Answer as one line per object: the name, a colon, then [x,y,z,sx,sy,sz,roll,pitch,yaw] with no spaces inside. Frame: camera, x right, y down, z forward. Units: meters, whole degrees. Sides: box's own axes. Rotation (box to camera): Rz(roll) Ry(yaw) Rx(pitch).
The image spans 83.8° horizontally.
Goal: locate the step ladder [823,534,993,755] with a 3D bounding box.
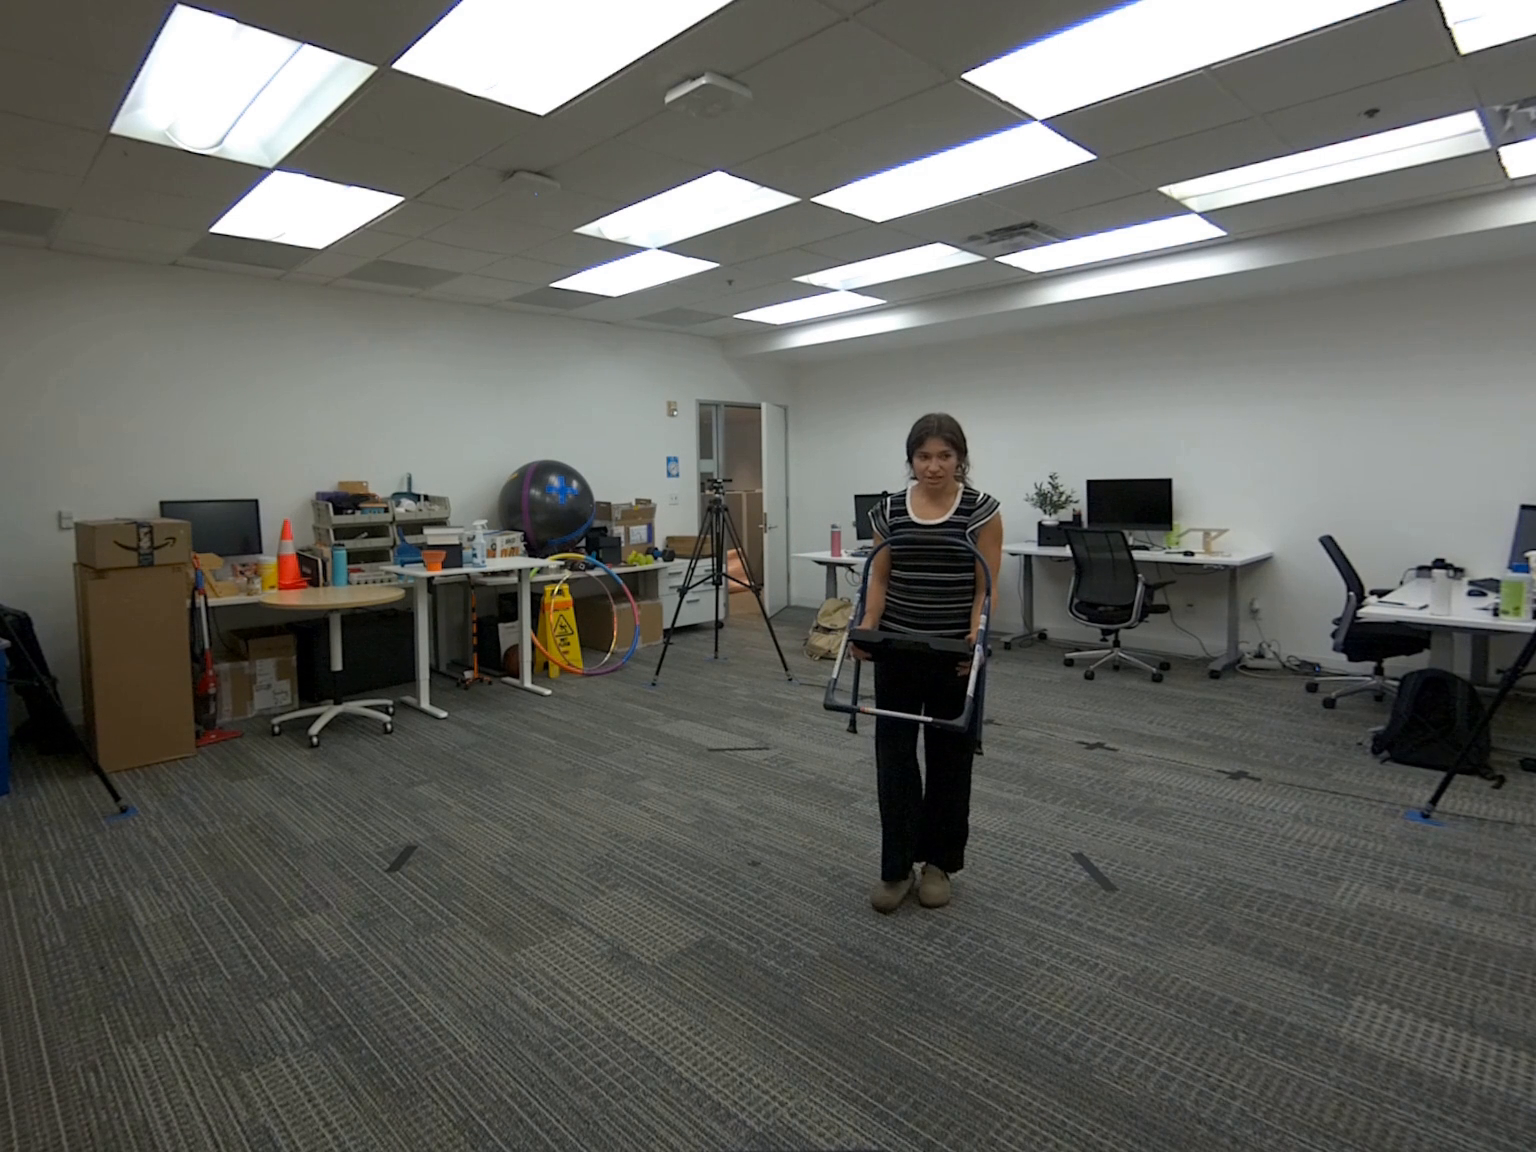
step ladder: [0.470,0.188,2.647,0.441,0.613,0.337,4,-21,23]
